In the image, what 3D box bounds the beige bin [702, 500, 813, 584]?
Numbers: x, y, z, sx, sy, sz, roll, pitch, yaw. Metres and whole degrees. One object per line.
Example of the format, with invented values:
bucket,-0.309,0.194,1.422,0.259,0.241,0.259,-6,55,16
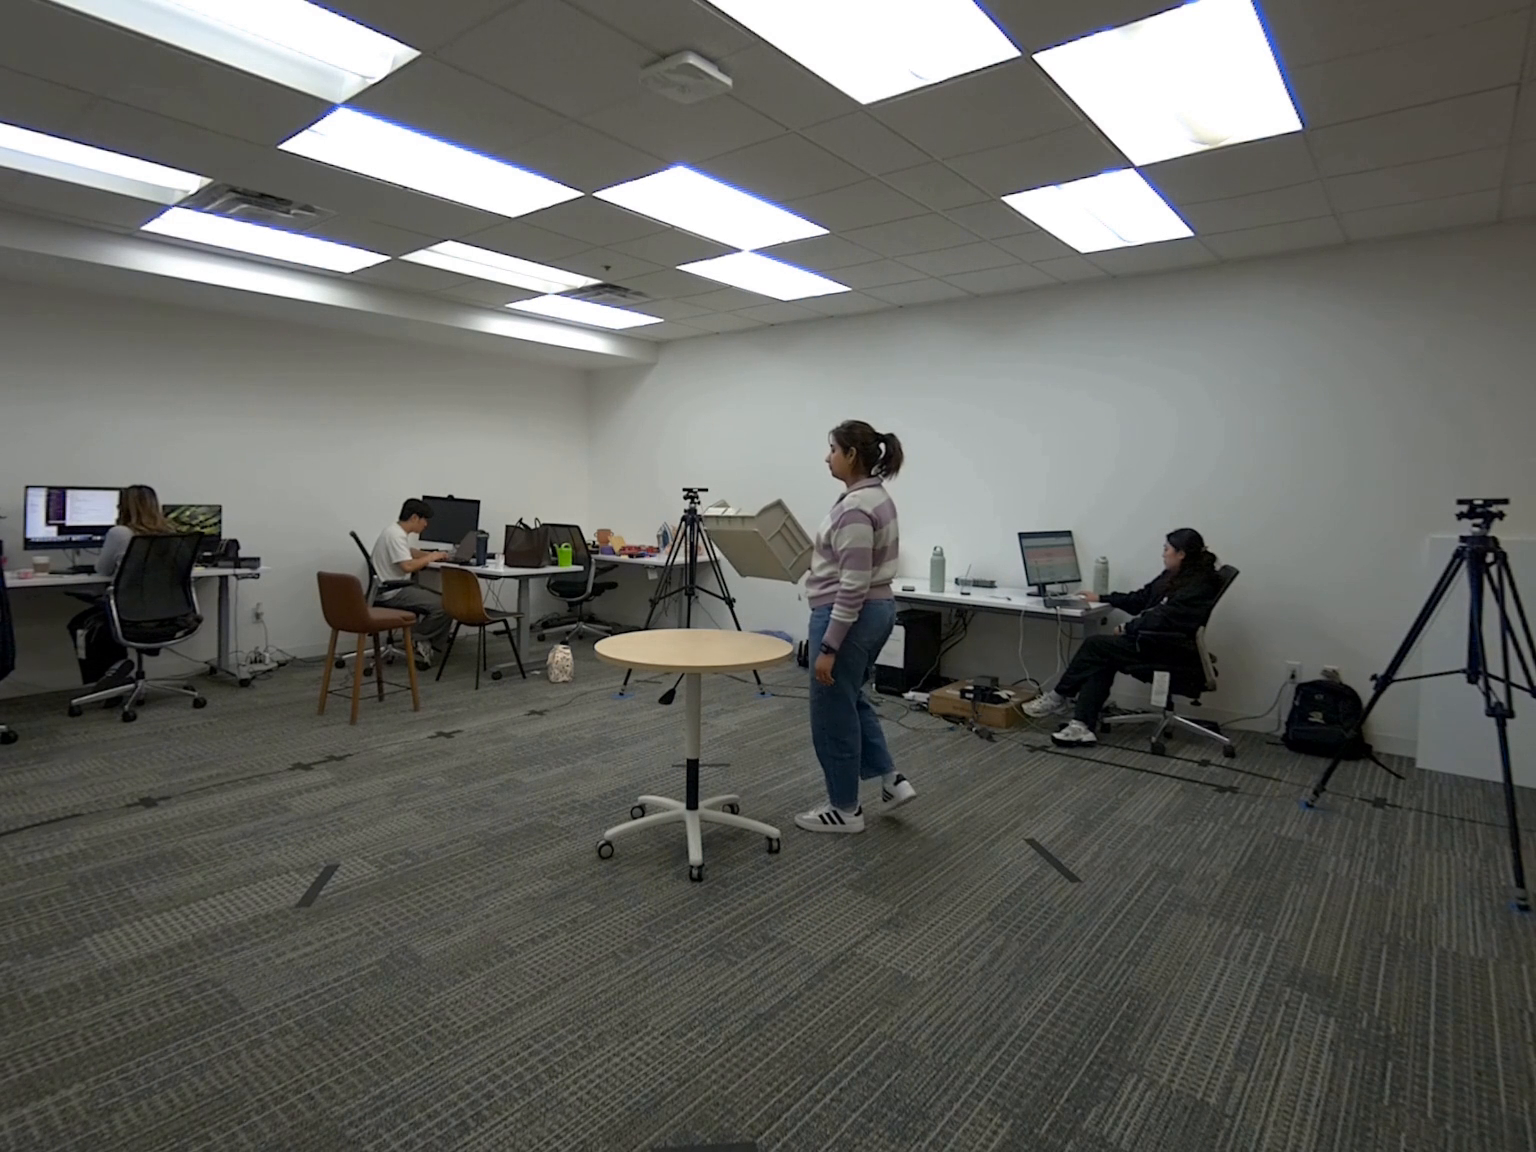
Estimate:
beige bin,-0.057,-0.161,3.703,0.189,0.365,0.436,-49,29,-23
